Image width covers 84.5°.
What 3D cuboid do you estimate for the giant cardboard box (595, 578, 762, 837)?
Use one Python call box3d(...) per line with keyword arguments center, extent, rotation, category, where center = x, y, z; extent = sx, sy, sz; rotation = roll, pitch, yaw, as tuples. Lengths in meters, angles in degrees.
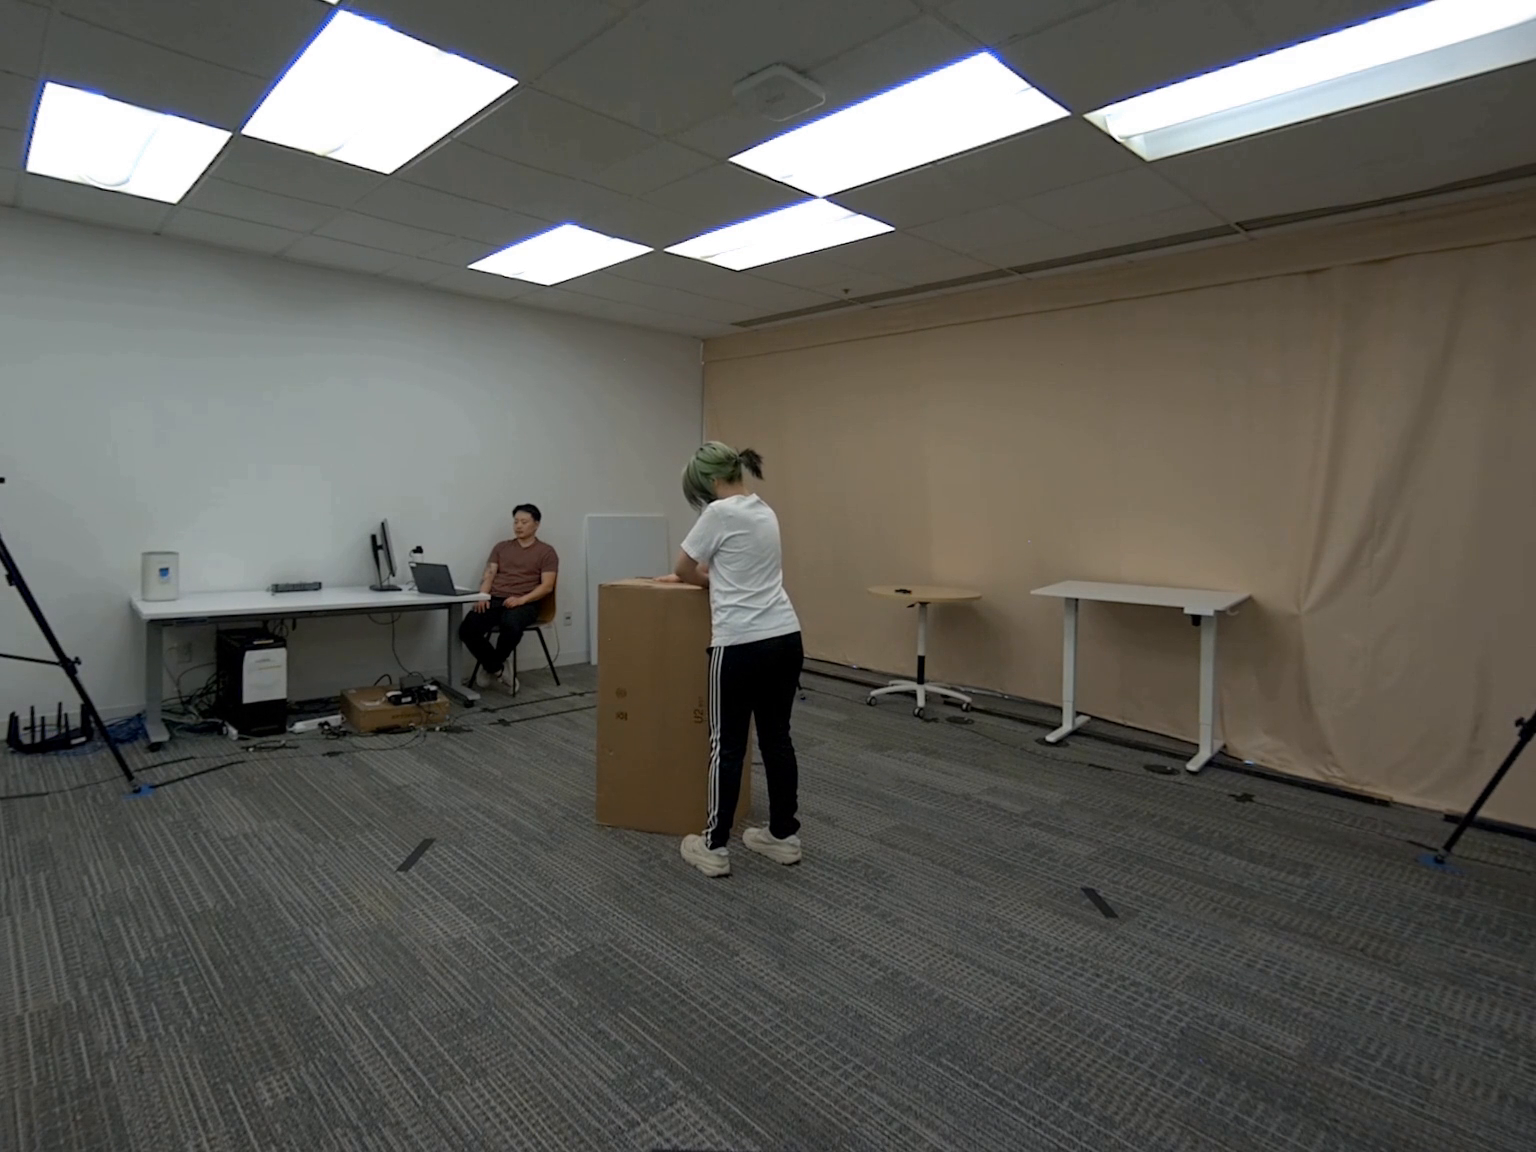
box3d(center=(-0.404, 0.542, 3.660), extent=(0.591, 1.025, 0.442), rotation=(2, 3, 14), category="giant cardboard box")
